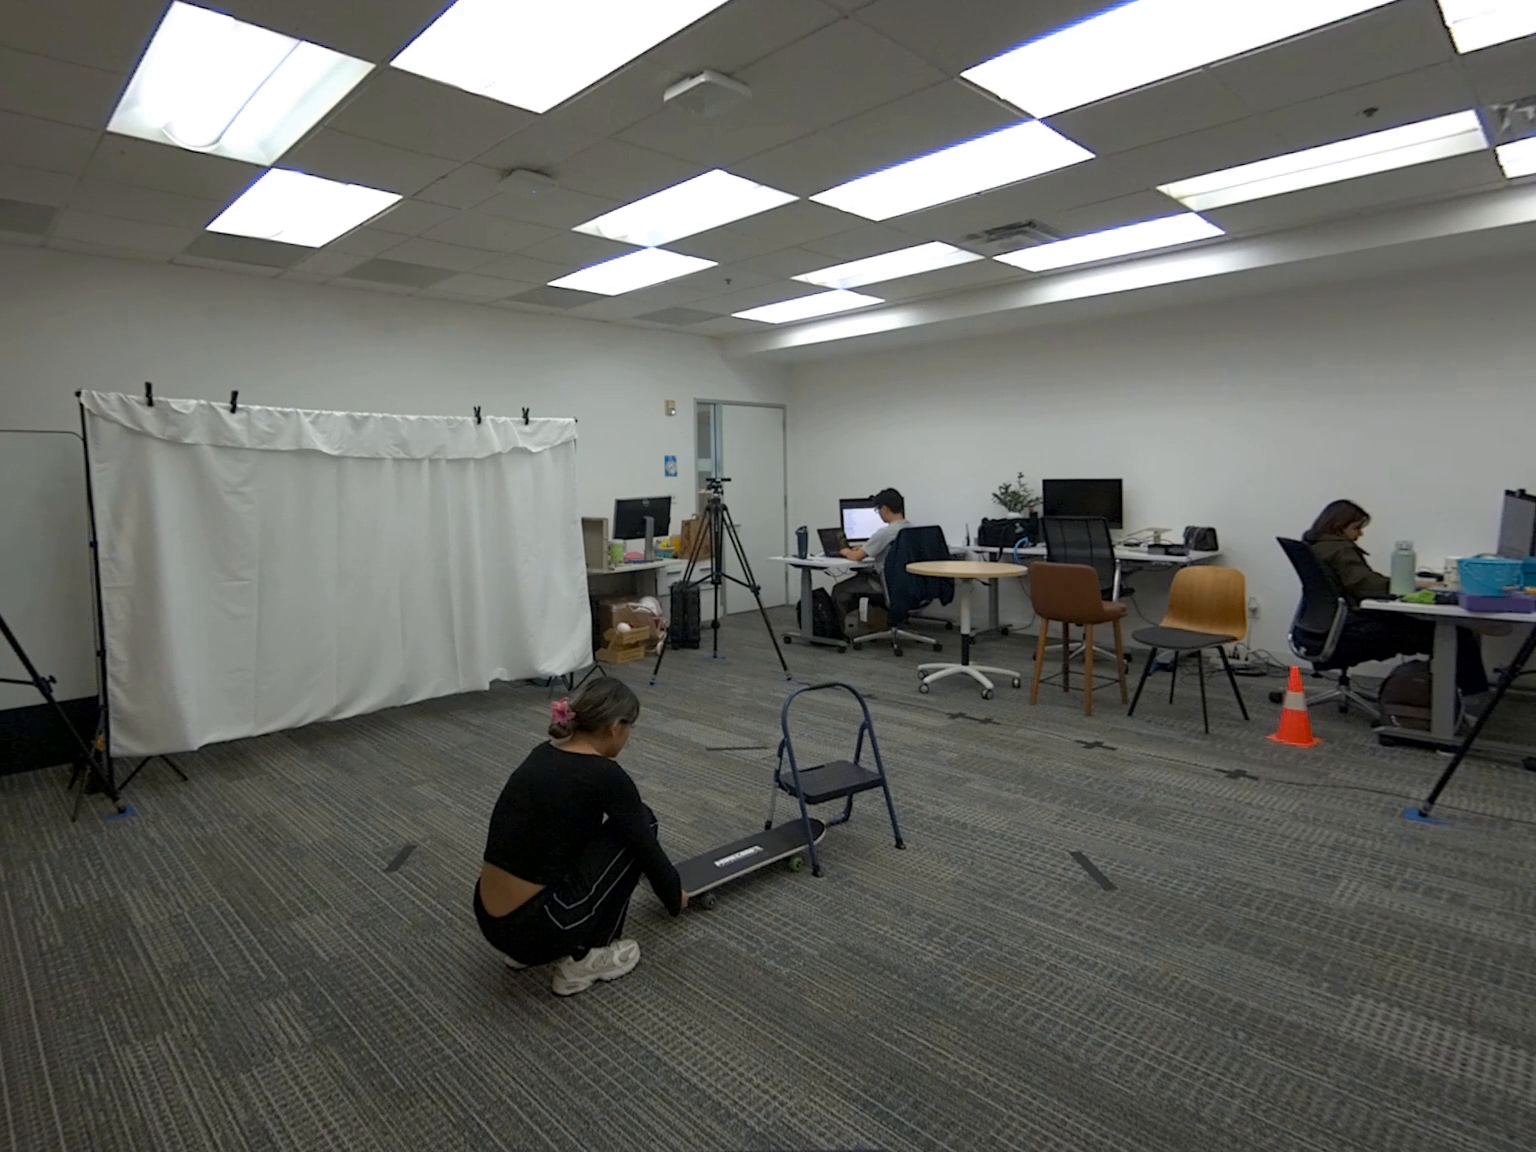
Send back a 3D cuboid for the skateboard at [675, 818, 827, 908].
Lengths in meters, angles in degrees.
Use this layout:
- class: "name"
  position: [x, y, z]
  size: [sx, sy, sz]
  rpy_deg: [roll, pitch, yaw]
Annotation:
- class: "skateboard"
  position: [-0.100, 0.996, 2.970]
  size: [0.765, 0.110, 0.199]
  rpy_deg: [-7, 8, -40]
